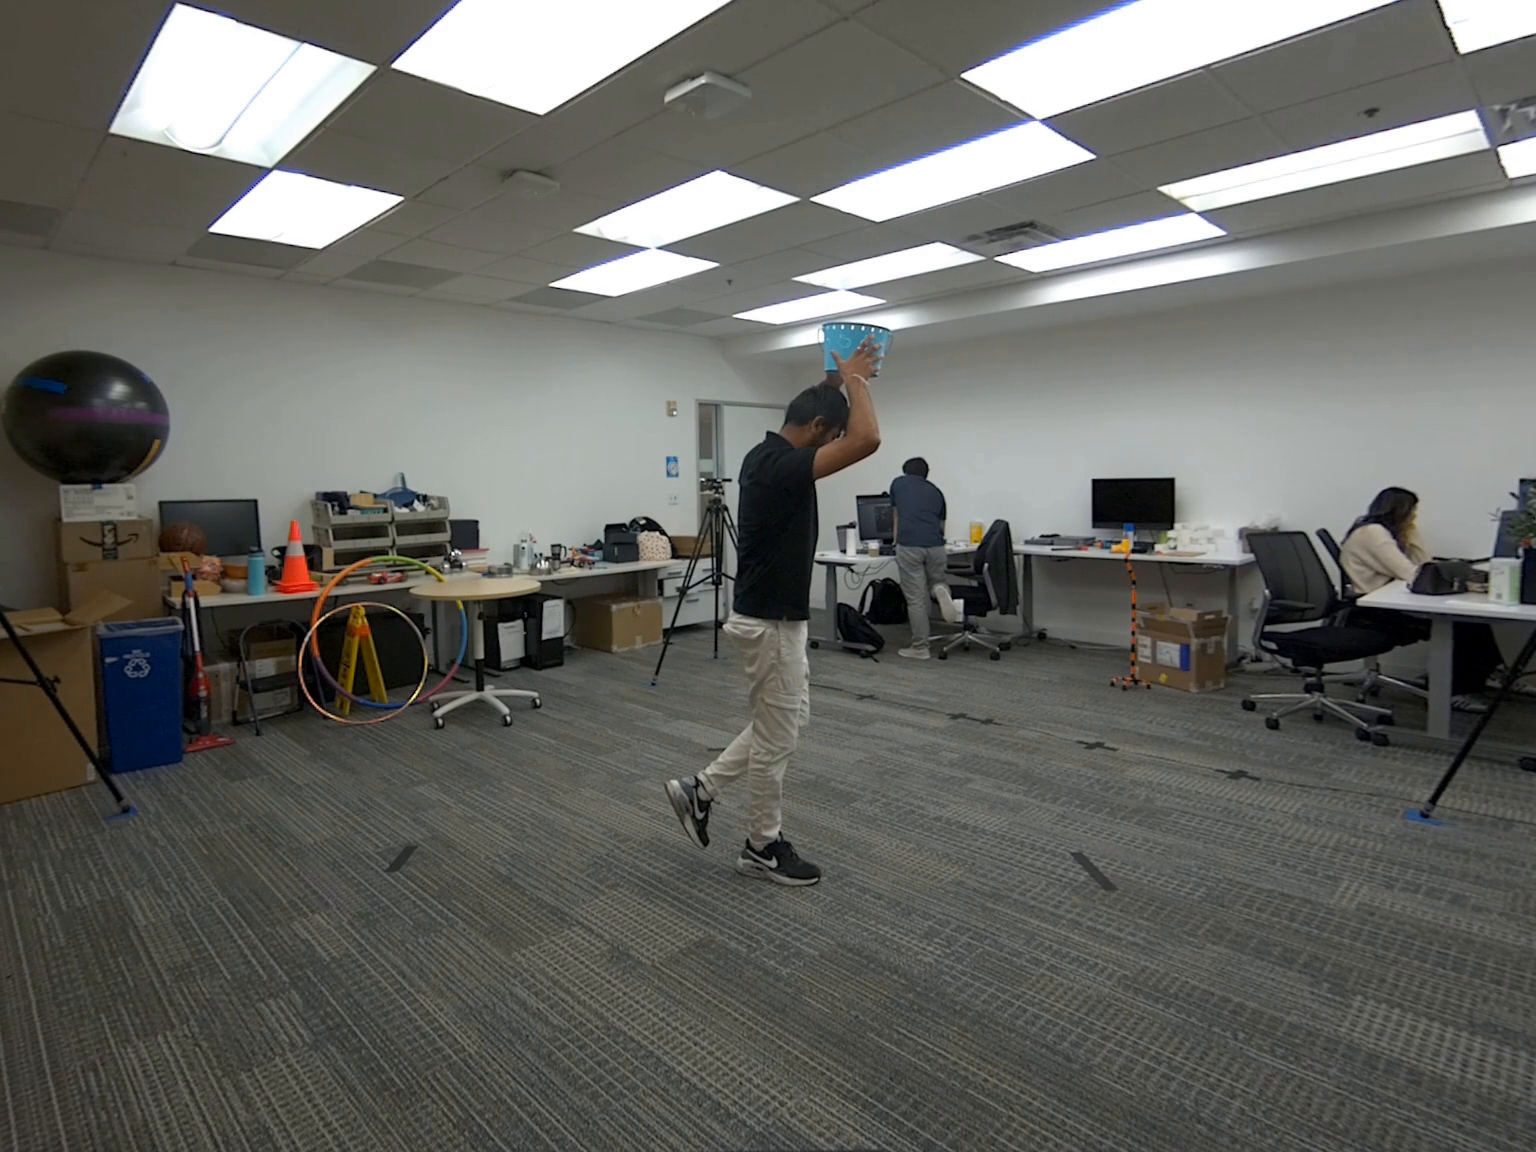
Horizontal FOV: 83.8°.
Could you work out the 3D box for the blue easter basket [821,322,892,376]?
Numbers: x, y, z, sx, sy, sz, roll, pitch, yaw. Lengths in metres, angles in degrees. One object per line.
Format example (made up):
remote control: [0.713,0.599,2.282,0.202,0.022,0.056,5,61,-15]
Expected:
blue easter basket: [0.293,-0.756,2.871,0.243,0.155,0.245,9,7,-3]
